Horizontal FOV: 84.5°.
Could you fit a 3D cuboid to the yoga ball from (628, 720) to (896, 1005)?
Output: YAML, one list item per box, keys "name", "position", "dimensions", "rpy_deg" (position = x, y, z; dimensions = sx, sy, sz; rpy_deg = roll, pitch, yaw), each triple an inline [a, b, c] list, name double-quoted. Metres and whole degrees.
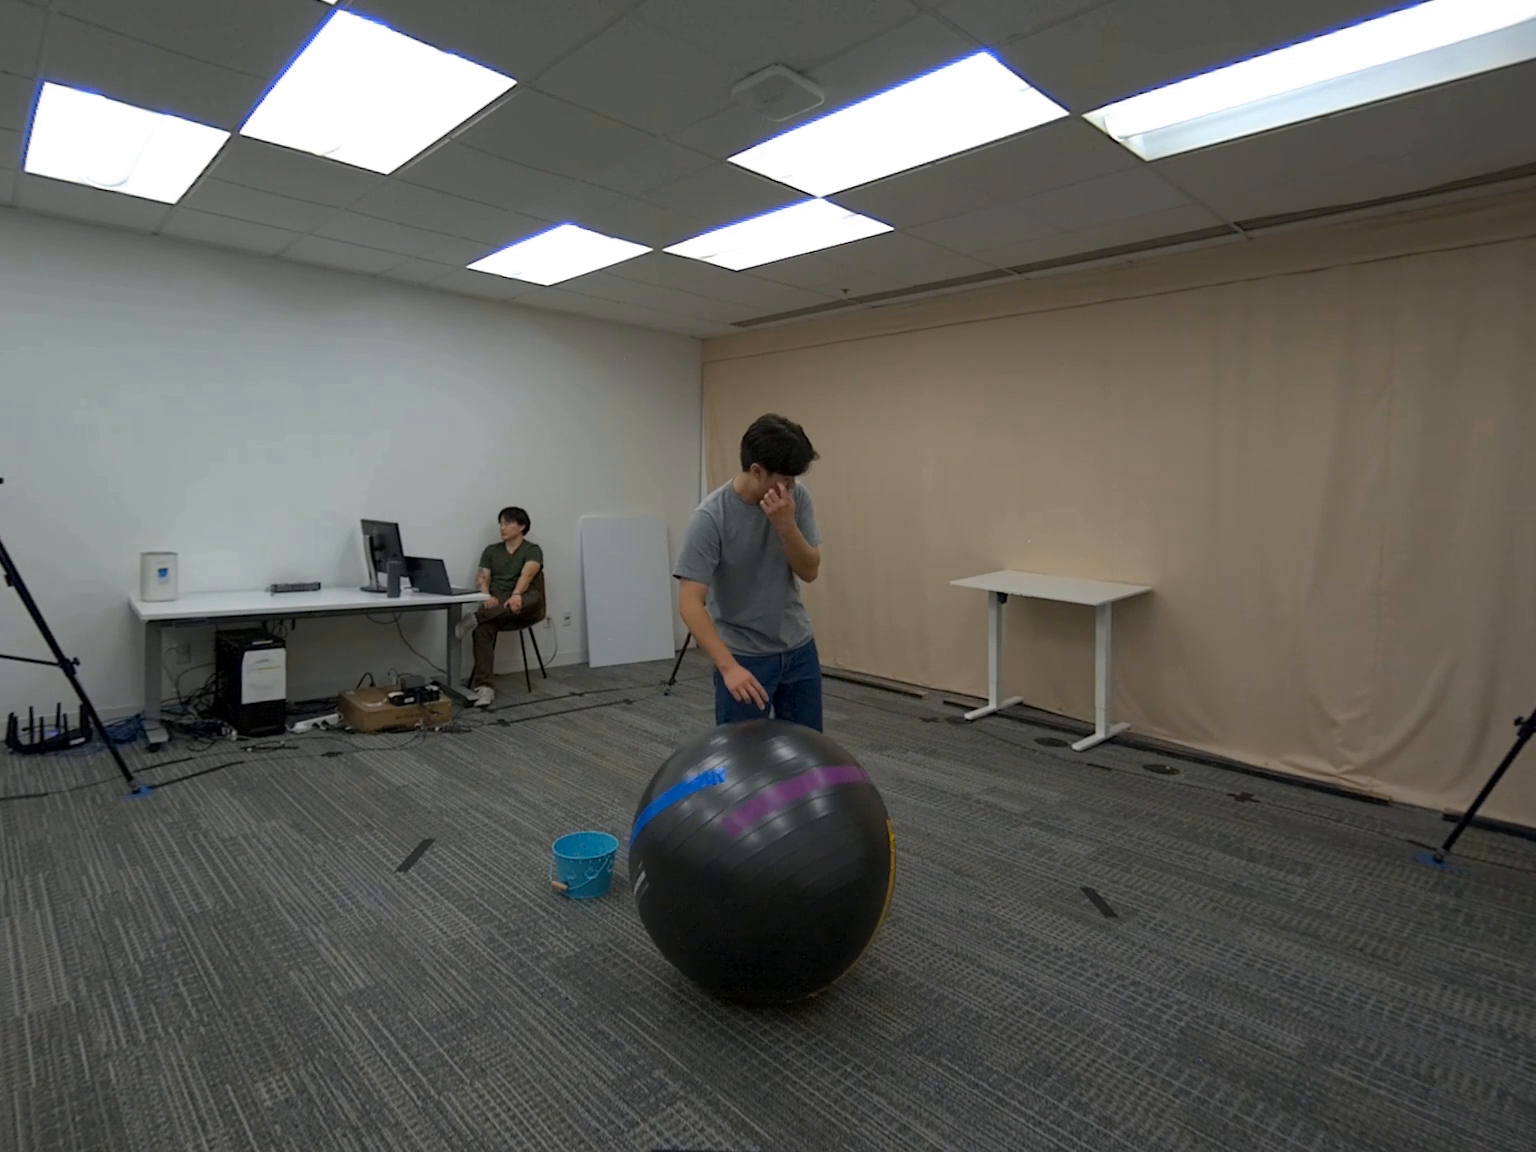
- name: "yoga ball"
  position: [-0.024, 0.798, 2.417]
  dimensions: [0.757, 0.756, 0.761]
  rpy_deg: [1, 4, -1]
